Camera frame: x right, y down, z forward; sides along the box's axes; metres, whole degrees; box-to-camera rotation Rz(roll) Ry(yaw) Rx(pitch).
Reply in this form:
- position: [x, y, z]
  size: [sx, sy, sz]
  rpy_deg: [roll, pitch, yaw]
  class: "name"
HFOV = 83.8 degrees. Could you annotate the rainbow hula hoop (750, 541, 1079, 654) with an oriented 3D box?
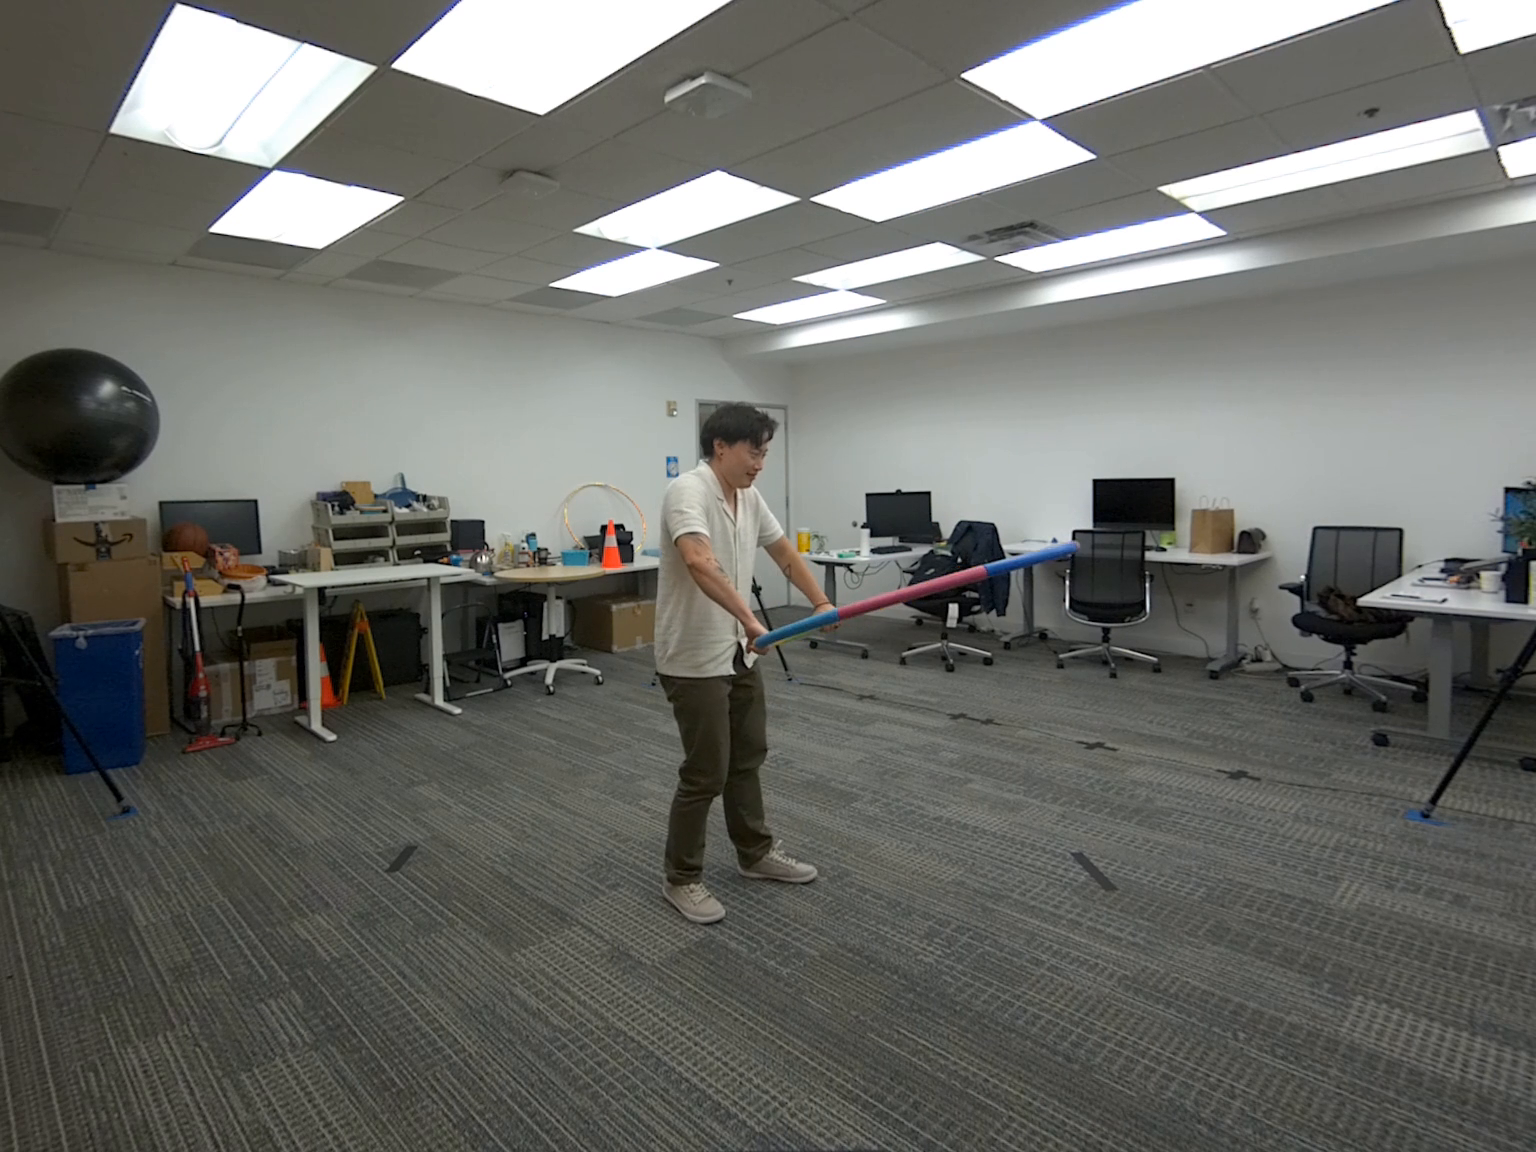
- position: [0.418, 0.066, 2.529]
  size: [0.976, 0.036, 0.972]
  rpy_deg: [-16, -6, -4]
  class: "rainbow hula hoop"
